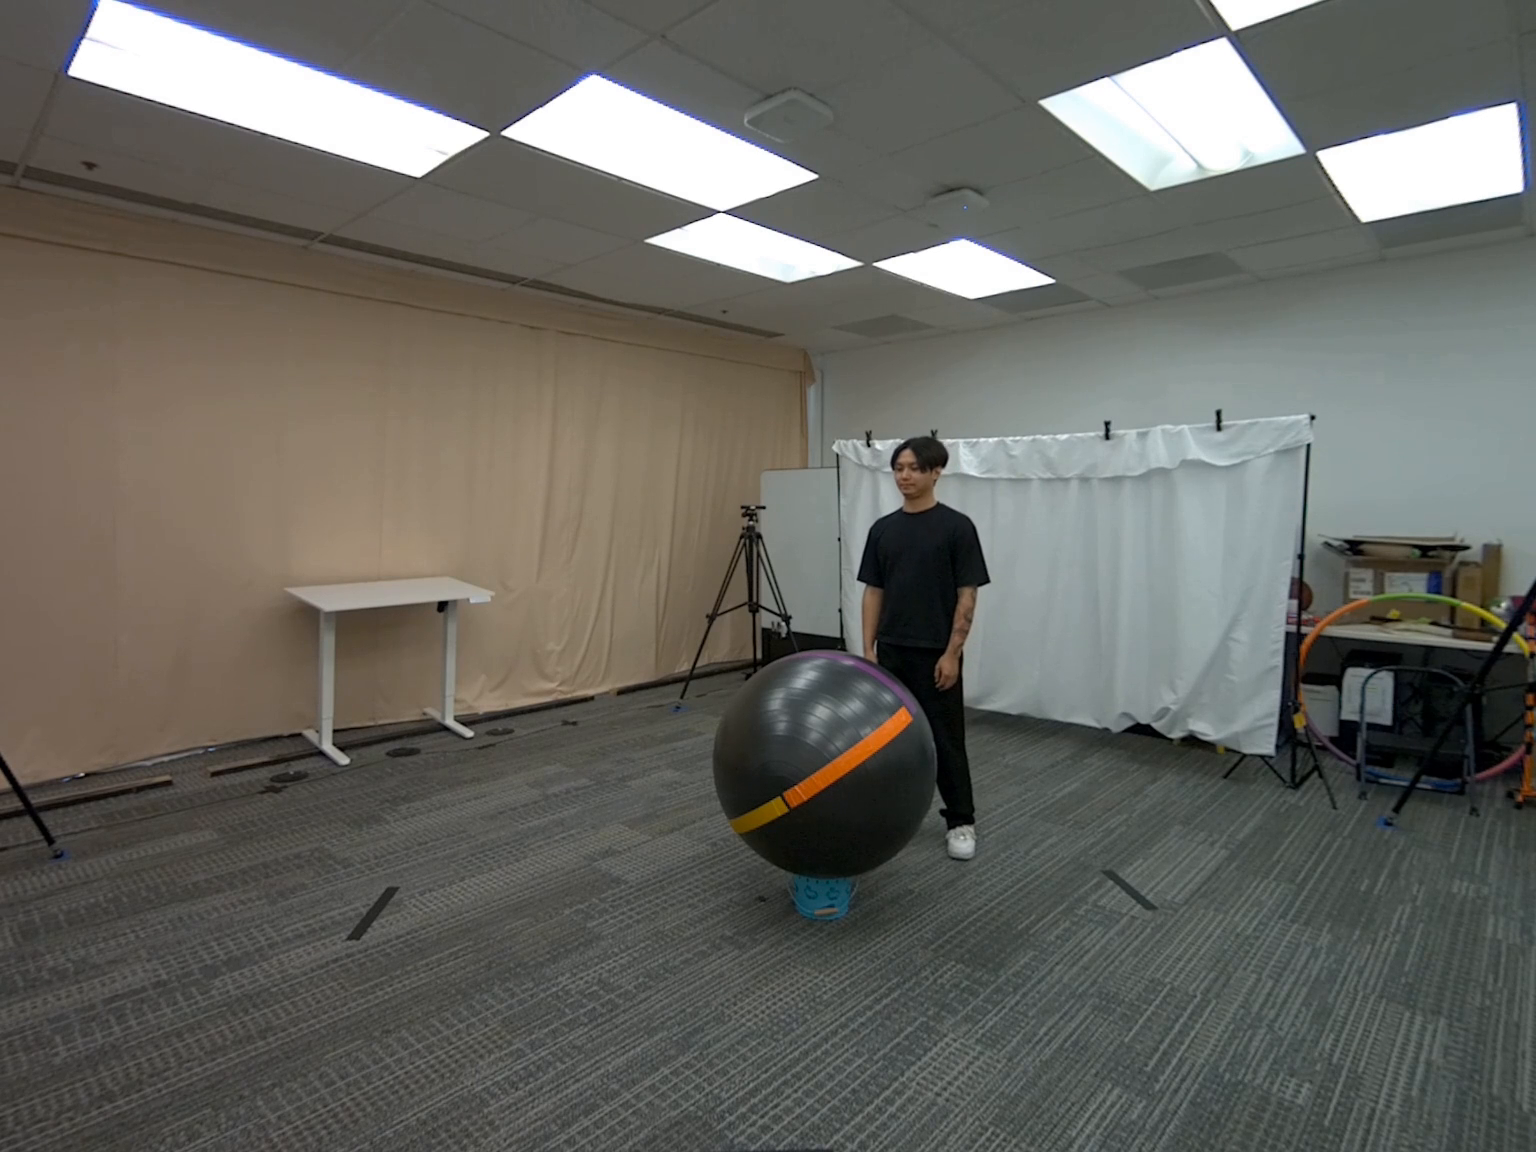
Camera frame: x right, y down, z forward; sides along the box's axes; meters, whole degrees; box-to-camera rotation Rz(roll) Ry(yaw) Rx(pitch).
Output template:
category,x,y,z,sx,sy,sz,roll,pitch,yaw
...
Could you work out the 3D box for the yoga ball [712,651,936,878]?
category,x,y,z,sx,sy,sz,roll,pitch,yaw
yoga ball,0.191,0.640,2.892,0.757,0.756,0.761,0,4,-2
